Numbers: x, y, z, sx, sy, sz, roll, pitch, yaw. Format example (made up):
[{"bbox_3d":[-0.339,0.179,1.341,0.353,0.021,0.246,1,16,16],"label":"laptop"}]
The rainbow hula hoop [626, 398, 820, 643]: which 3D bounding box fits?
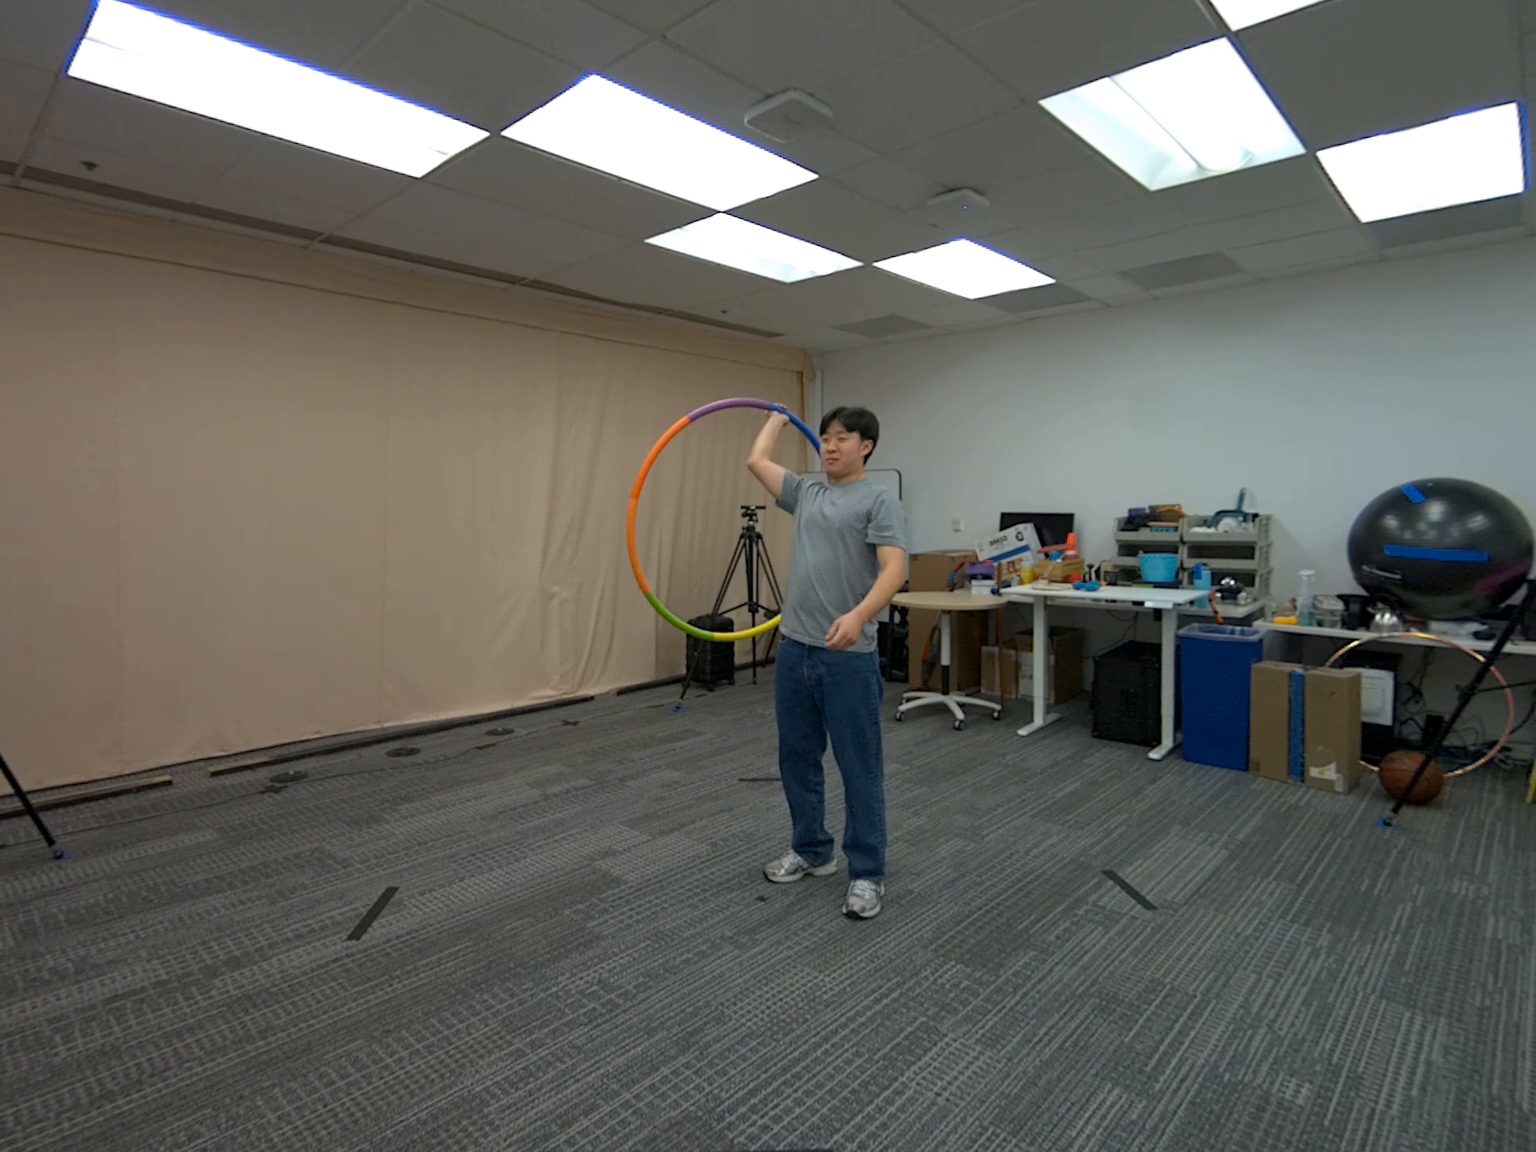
[{"bbox_3d":[-0.098,-0.228,3.410,0.953,0.973,0.037,-2,11,-29],"label":"rainbow hula hoop"}]
